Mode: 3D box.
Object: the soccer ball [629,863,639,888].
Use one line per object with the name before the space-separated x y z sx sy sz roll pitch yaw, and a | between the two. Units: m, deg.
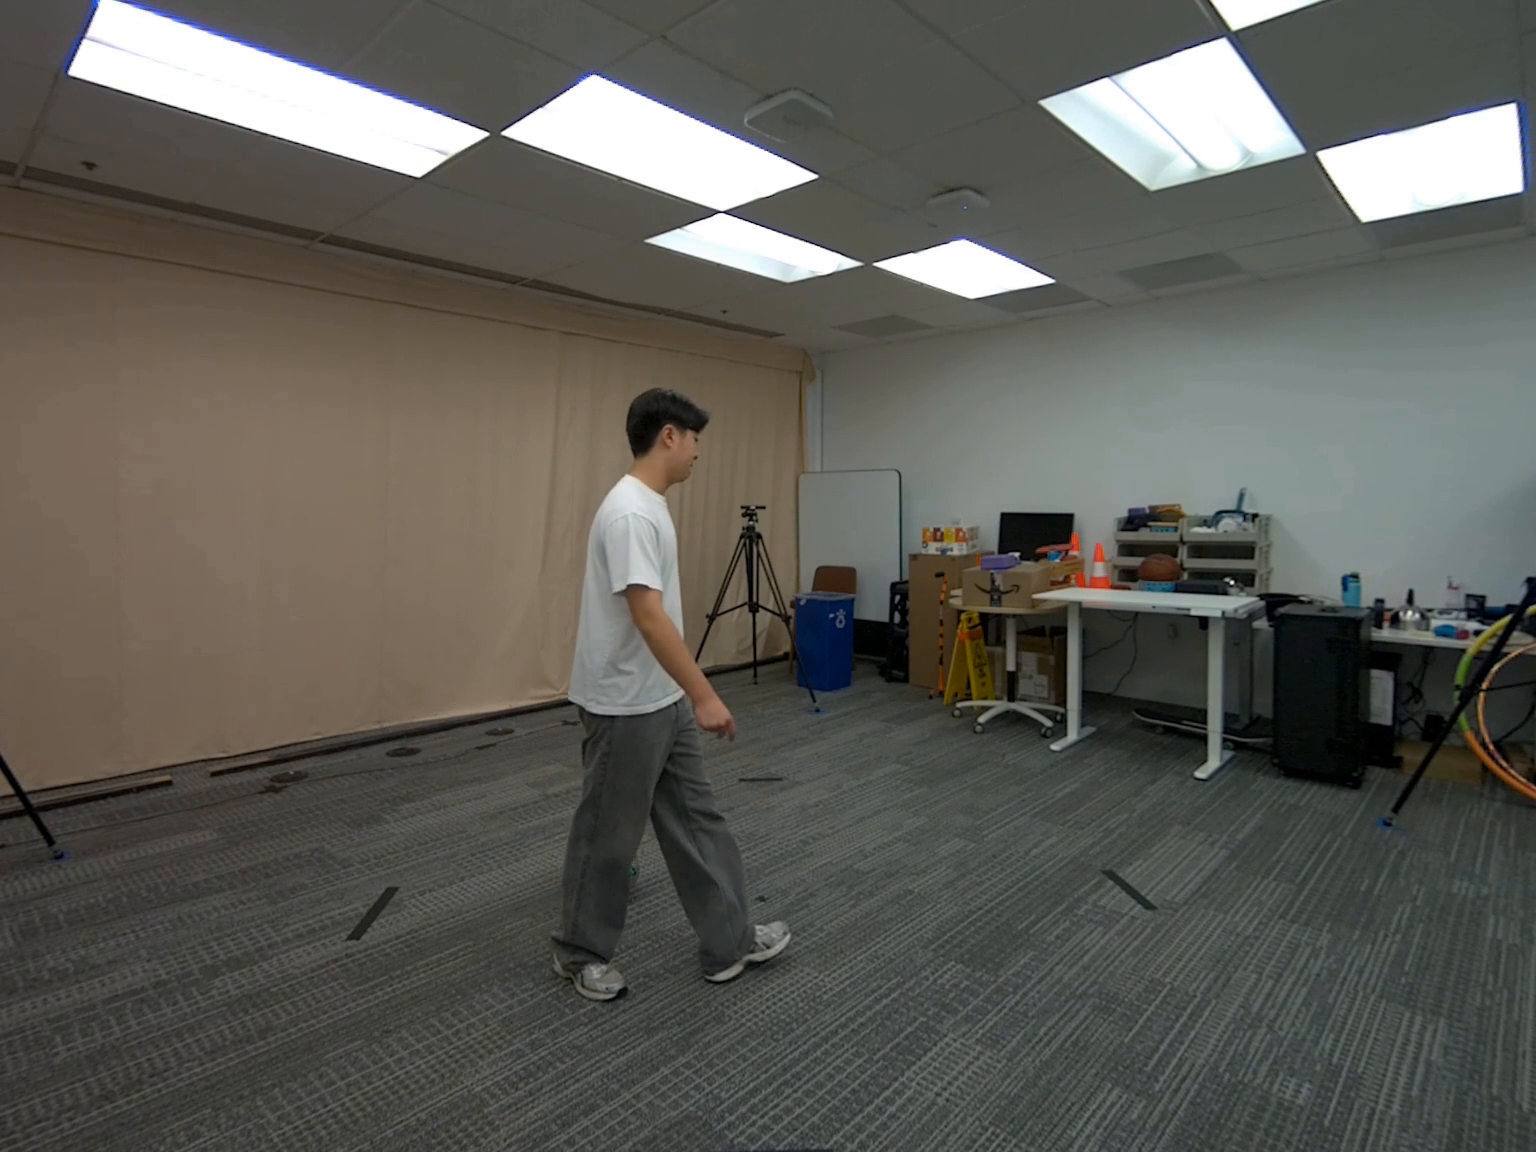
soccer ball | -0.546 1.057 3.010 0.187 0.187 0.188 0 4 -2
